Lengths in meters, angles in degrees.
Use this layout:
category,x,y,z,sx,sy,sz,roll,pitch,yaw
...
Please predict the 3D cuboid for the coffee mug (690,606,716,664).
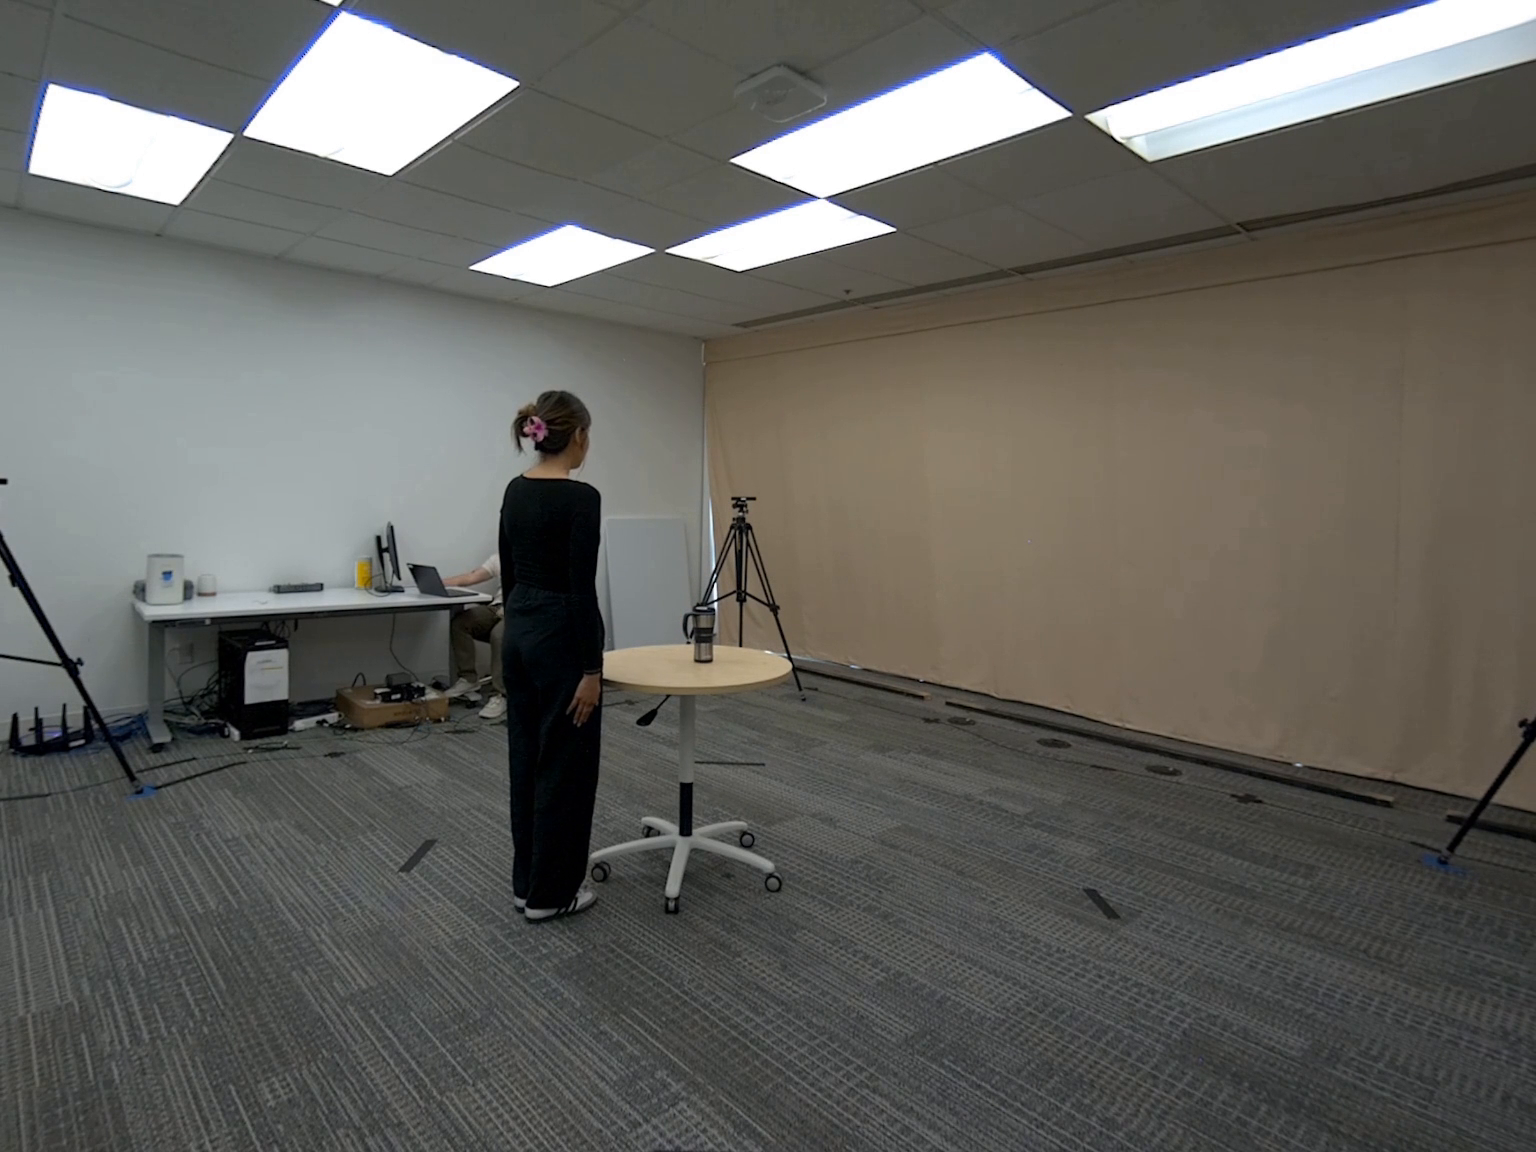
category,x,y,z,sx,sy,sz,roll,pitch,yaw
coffee mug,-0.265,0.220,3.128,0.123,0.202,0.087,3,8,15
